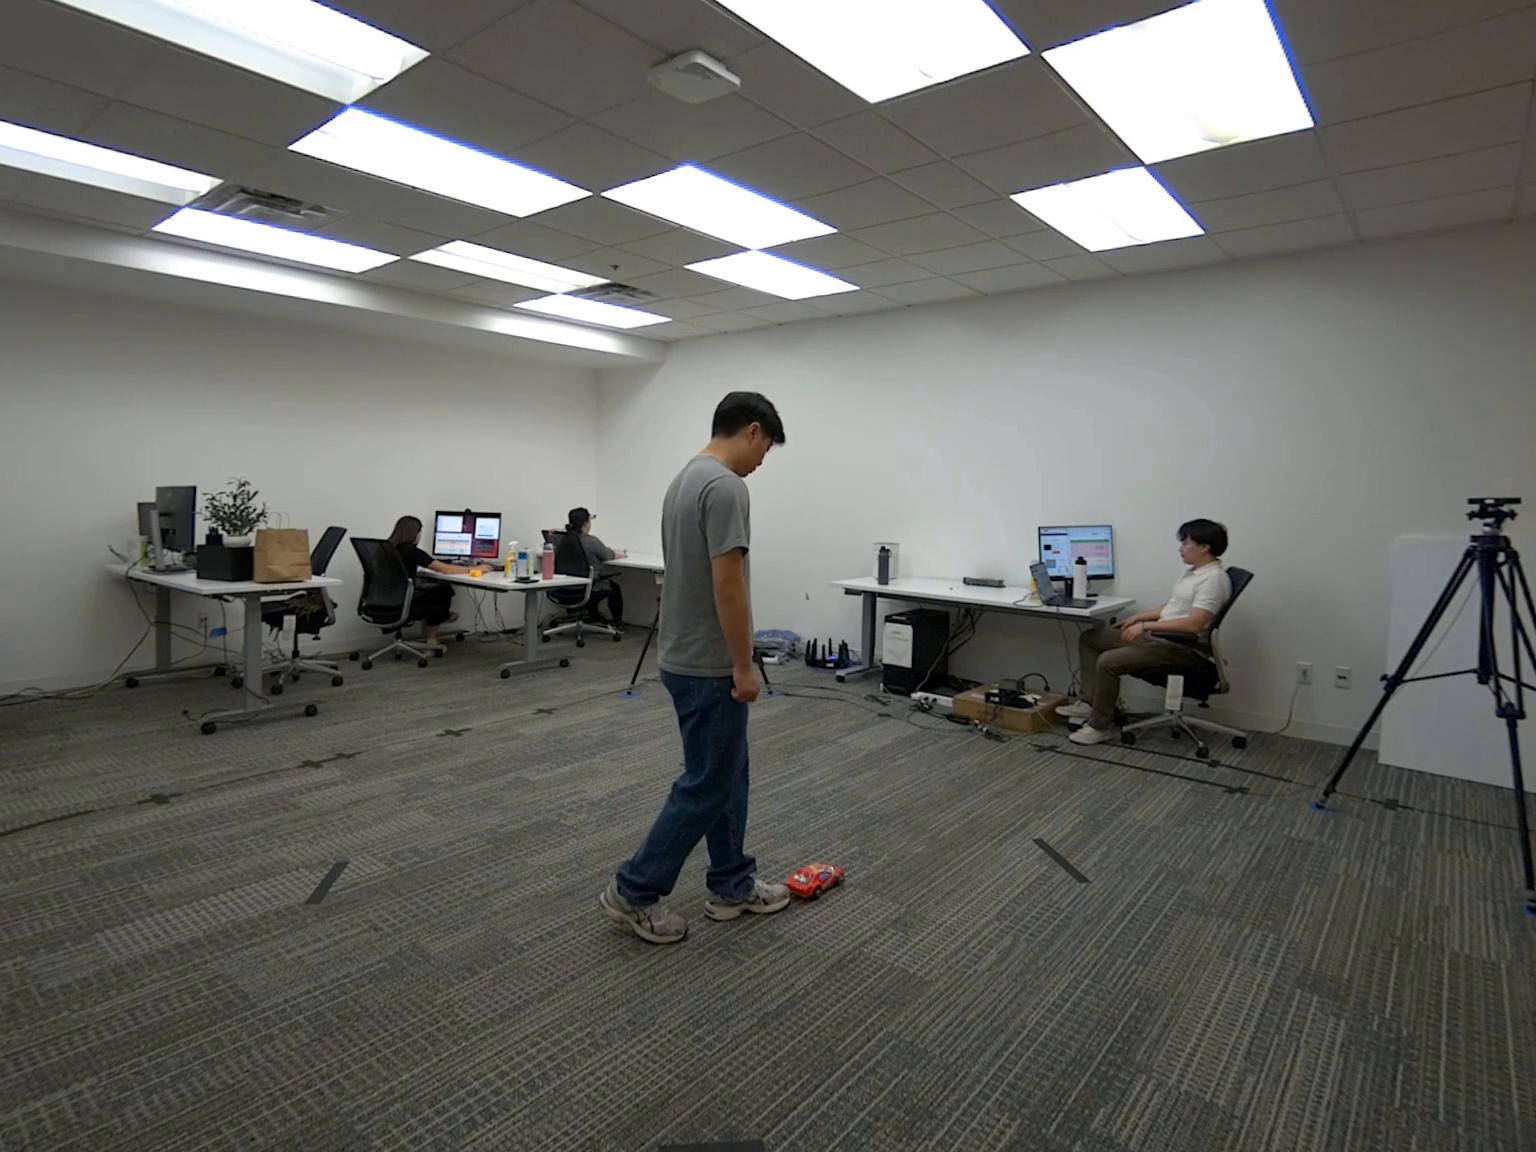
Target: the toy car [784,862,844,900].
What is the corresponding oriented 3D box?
[{"bbox_3d":[0.147,1.053,2.956,0.135,0.083,0.245,6,-4,40],"label":"toy car"}]
